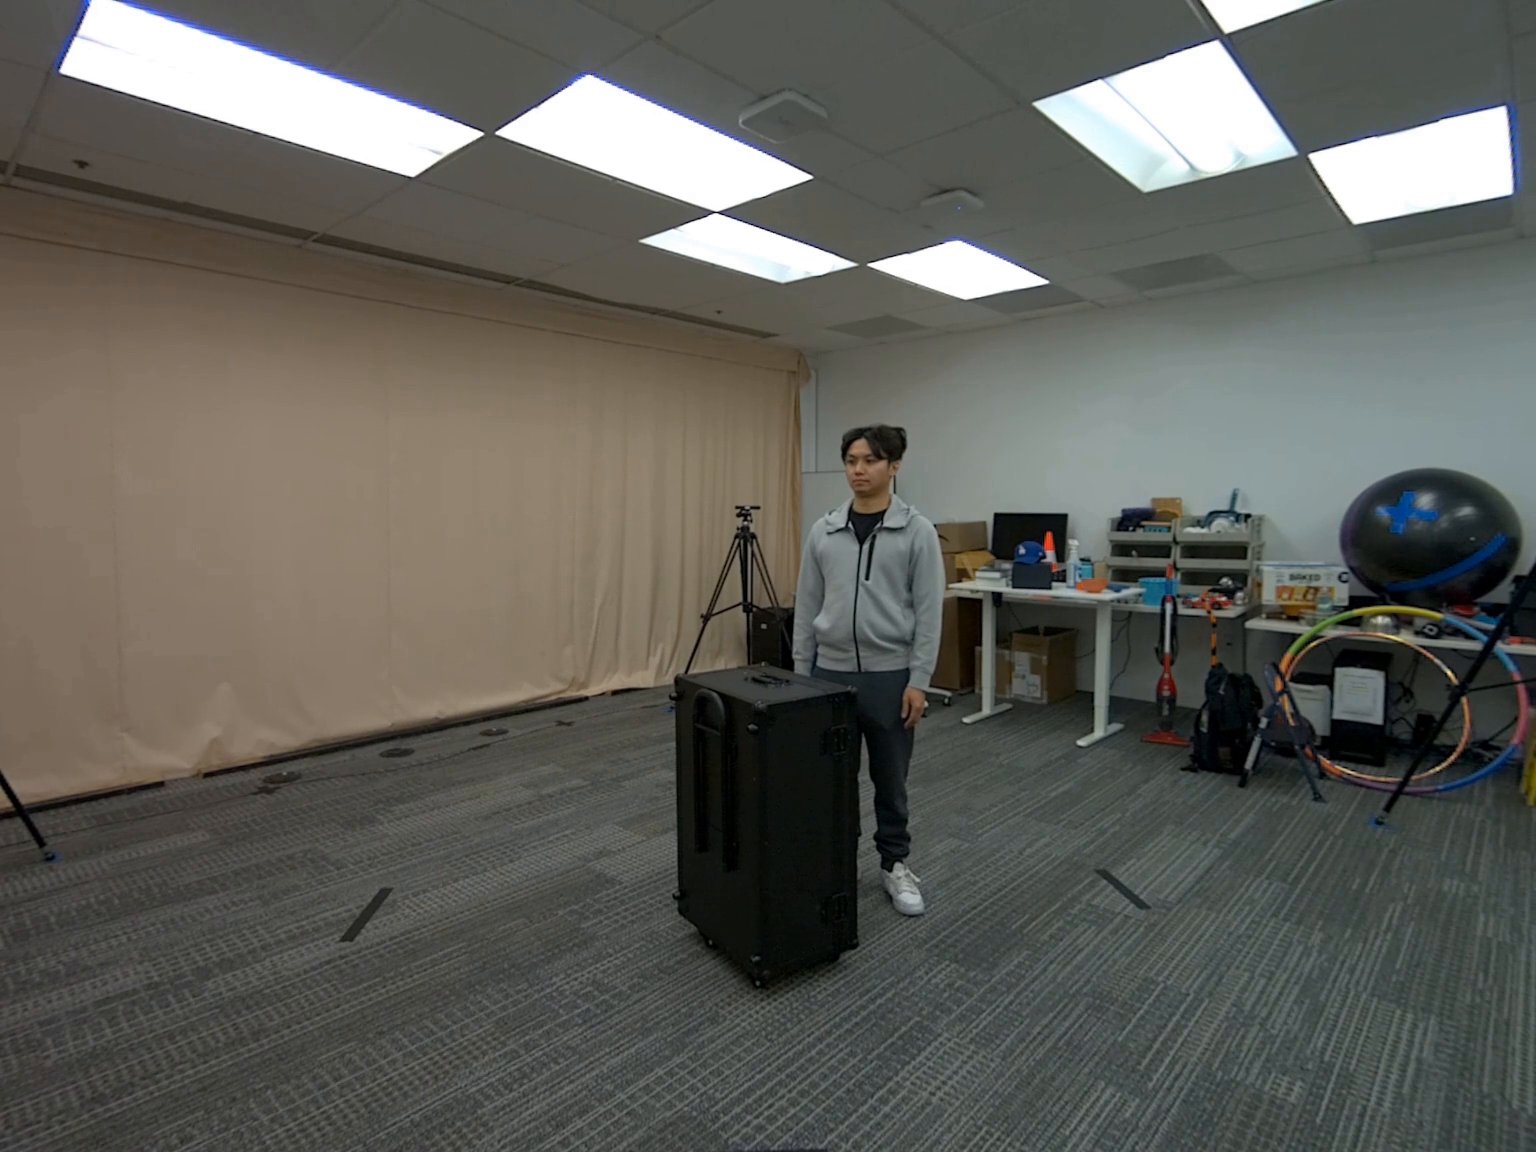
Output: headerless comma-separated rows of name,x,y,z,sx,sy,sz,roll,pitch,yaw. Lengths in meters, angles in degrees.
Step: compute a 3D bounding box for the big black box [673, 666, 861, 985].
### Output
big black box,-0.022,0.754,2.594,0.385,0.859,0.537,-4,5,-33
